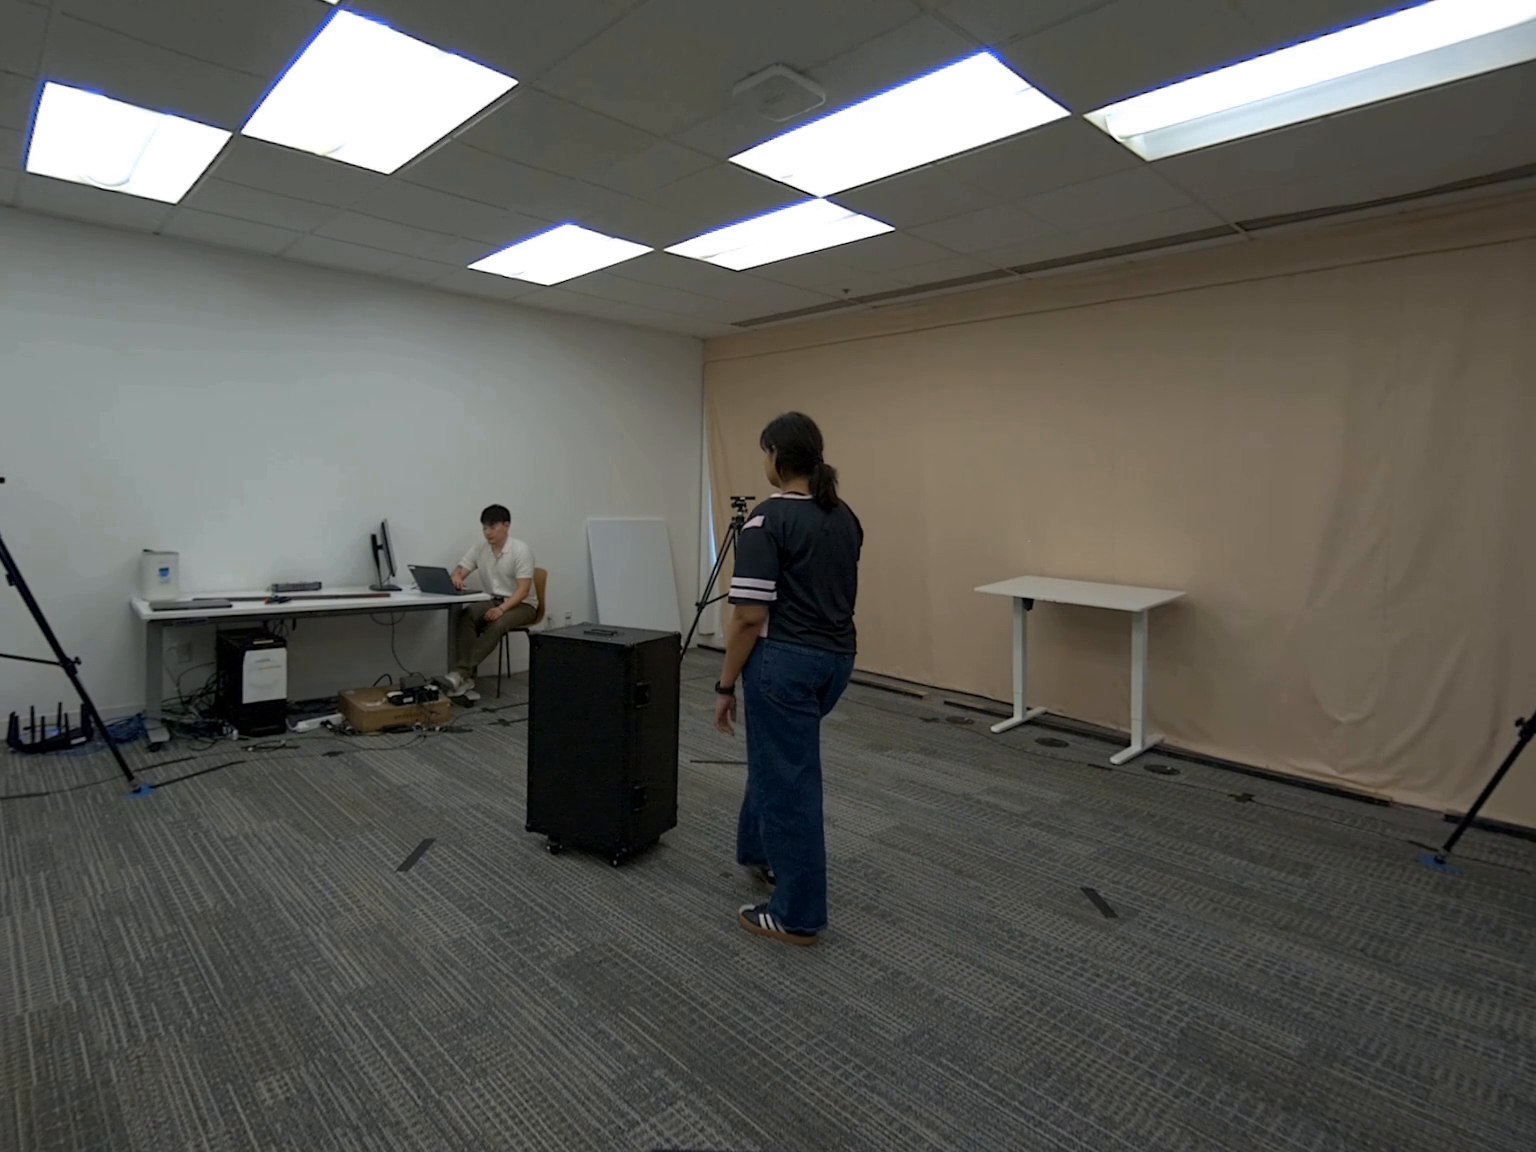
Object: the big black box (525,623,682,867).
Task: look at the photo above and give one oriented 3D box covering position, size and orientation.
[{"bbox_3d":[-0.658,0.649,3.334,0.534,0.867,0.378,3,3,26],"label":"big black box"}]
